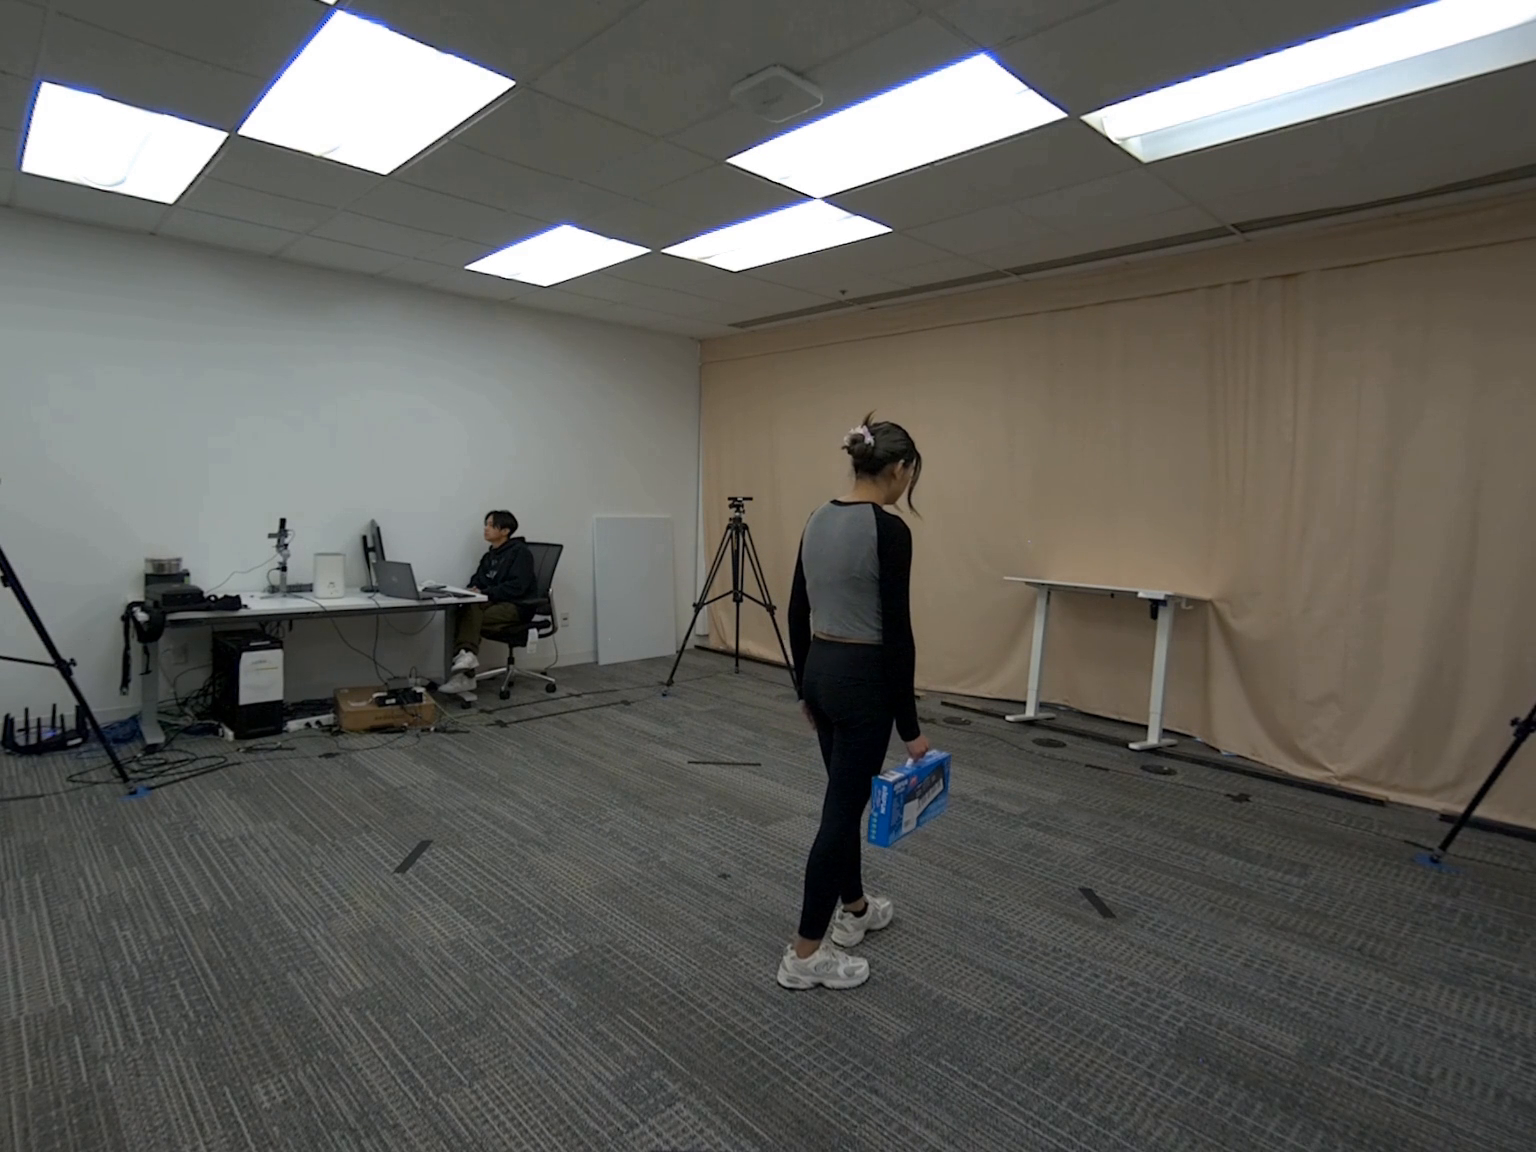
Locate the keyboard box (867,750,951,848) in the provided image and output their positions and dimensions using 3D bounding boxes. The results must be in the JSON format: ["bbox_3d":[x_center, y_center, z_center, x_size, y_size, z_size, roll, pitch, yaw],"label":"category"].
[{"bbox_3d":[0.393,0.614,2.362,0.060,0.176,0.427,5,2,33],"label":"keyboard box"}]
